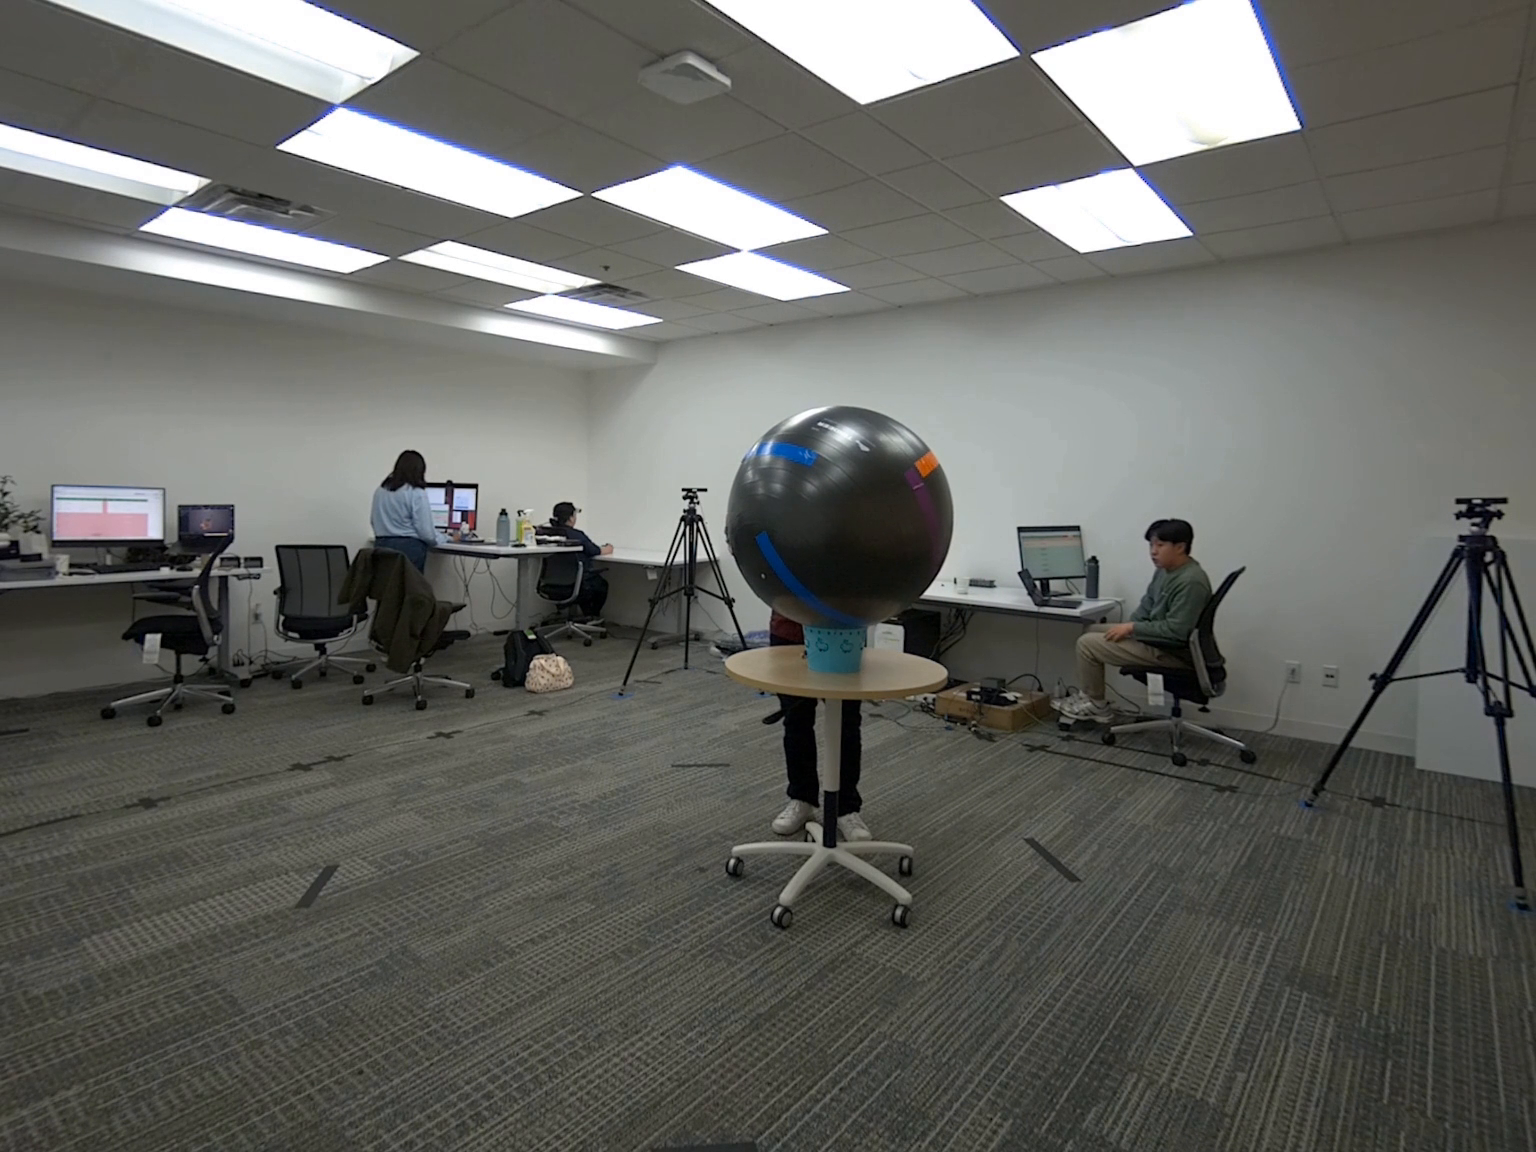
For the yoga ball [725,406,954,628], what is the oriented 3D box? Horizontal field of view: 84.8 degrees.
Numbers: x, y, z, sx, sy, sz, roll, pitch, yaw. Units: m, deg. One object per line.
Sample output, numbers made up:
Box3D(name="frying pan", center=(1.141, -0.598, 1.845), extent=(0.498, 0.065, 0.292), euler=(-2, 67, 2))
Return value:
Box3D(name="yoga ball", center=(0.235, -0.194, 2.890), extent=(0.757, 0.756, 0.761), euler=(1, 4, -2))
